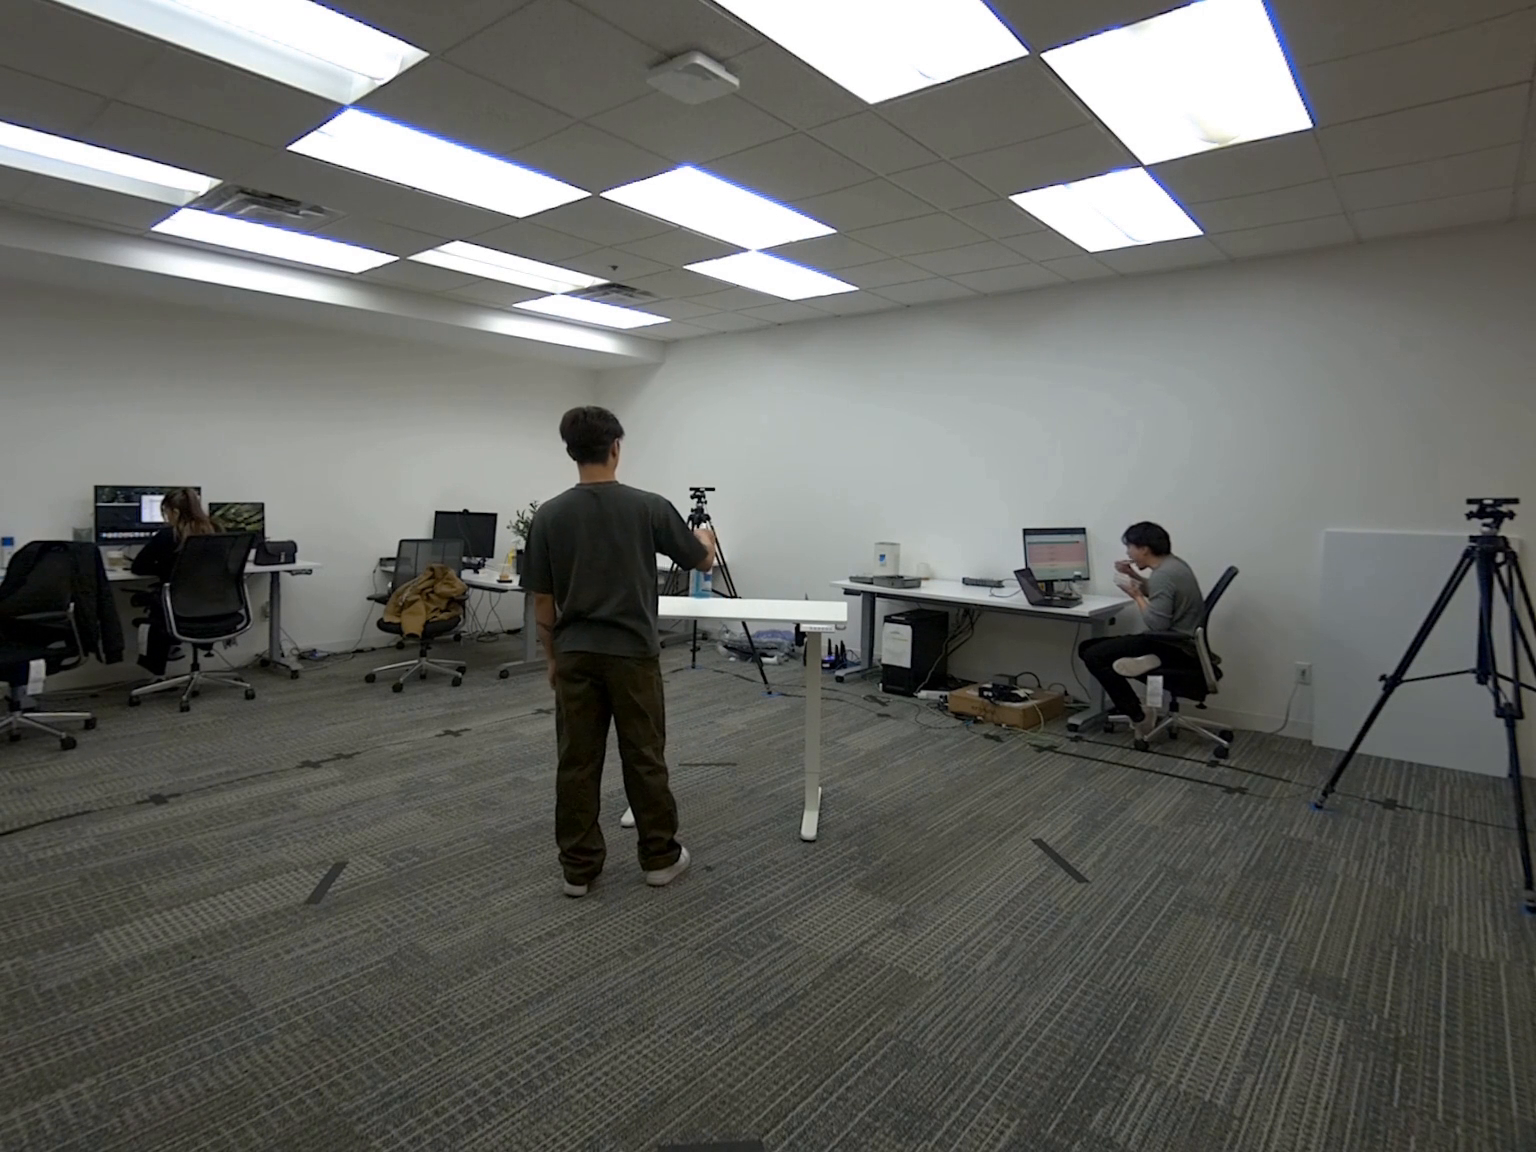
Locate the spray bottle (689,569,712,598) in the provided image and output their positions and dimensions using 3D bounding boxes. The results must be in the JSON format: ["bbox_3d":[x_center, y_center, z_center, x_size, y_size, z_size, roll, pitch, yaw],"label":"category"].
[{"bbox_3d":[-0.270,-0.060,3.331,0.088,0.300,0.088,-3,-11,15],"label":"spray bottle"}]
